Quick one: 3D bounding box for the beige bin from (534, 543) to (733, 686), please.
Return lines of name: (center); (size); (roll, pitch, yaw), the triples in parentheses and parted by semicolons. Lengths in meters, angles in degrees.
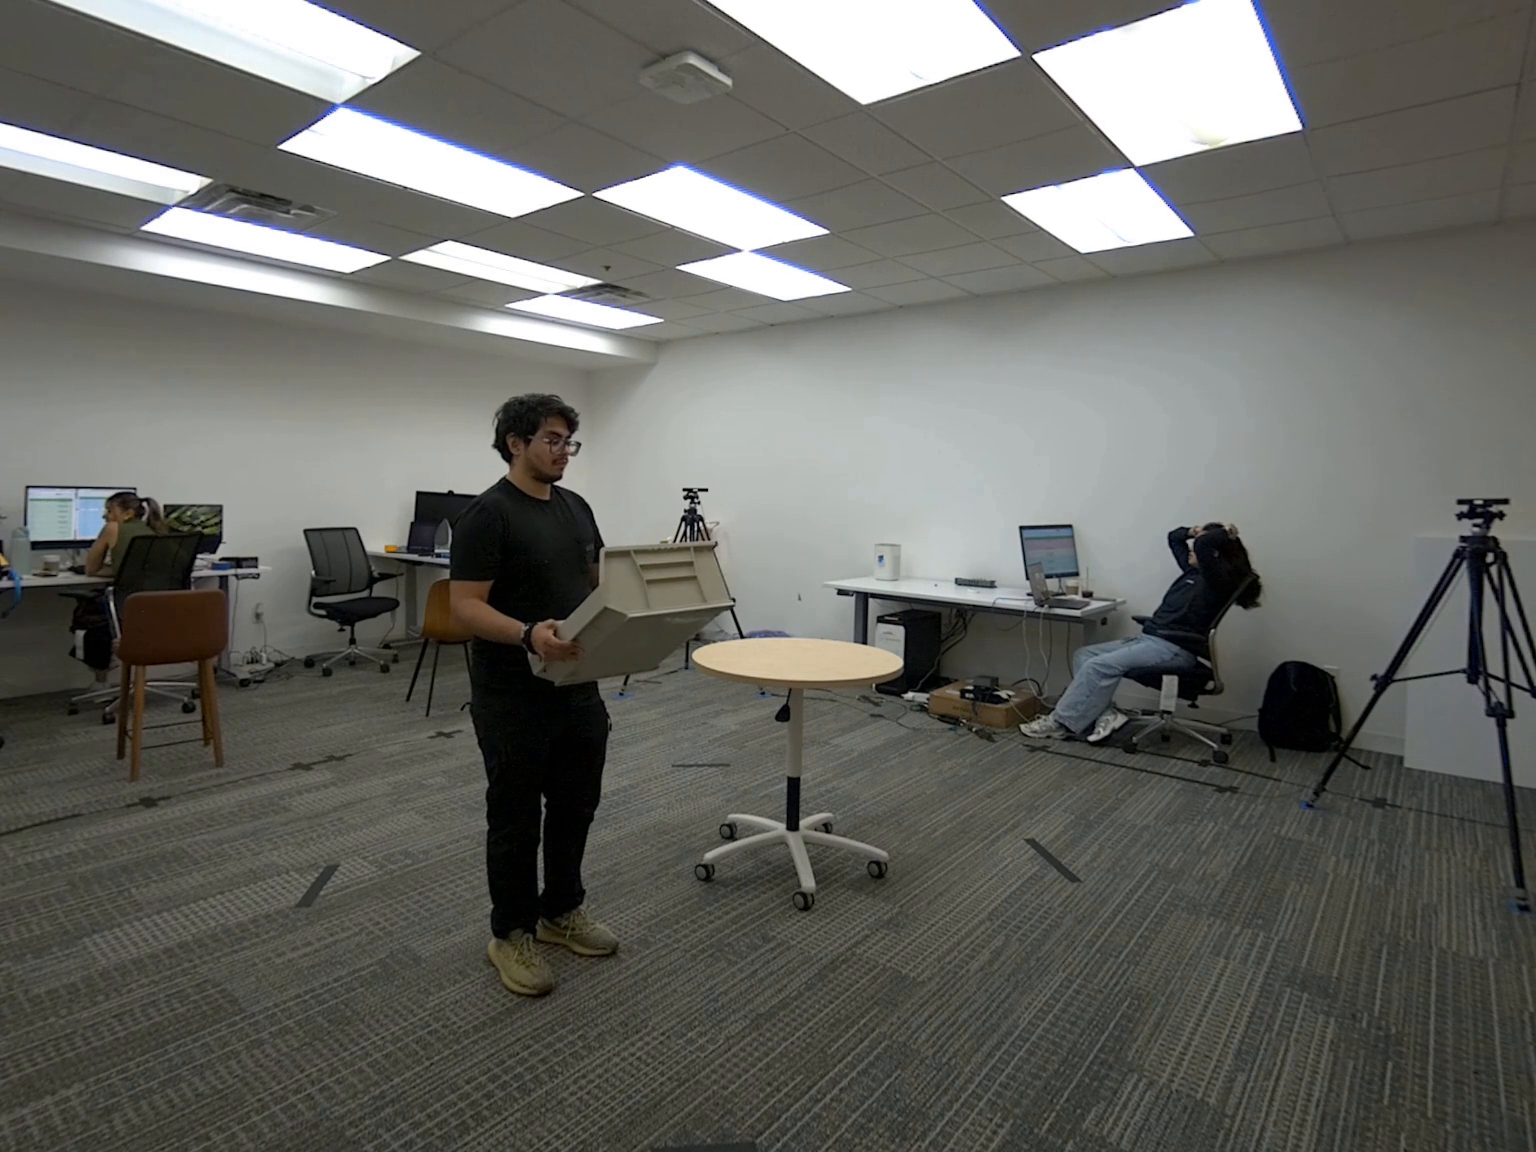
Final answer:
beige bin: (-0.362, 0.099, 2.145); (0.366, 0.194, 0.424); (-2, -27, -40)
